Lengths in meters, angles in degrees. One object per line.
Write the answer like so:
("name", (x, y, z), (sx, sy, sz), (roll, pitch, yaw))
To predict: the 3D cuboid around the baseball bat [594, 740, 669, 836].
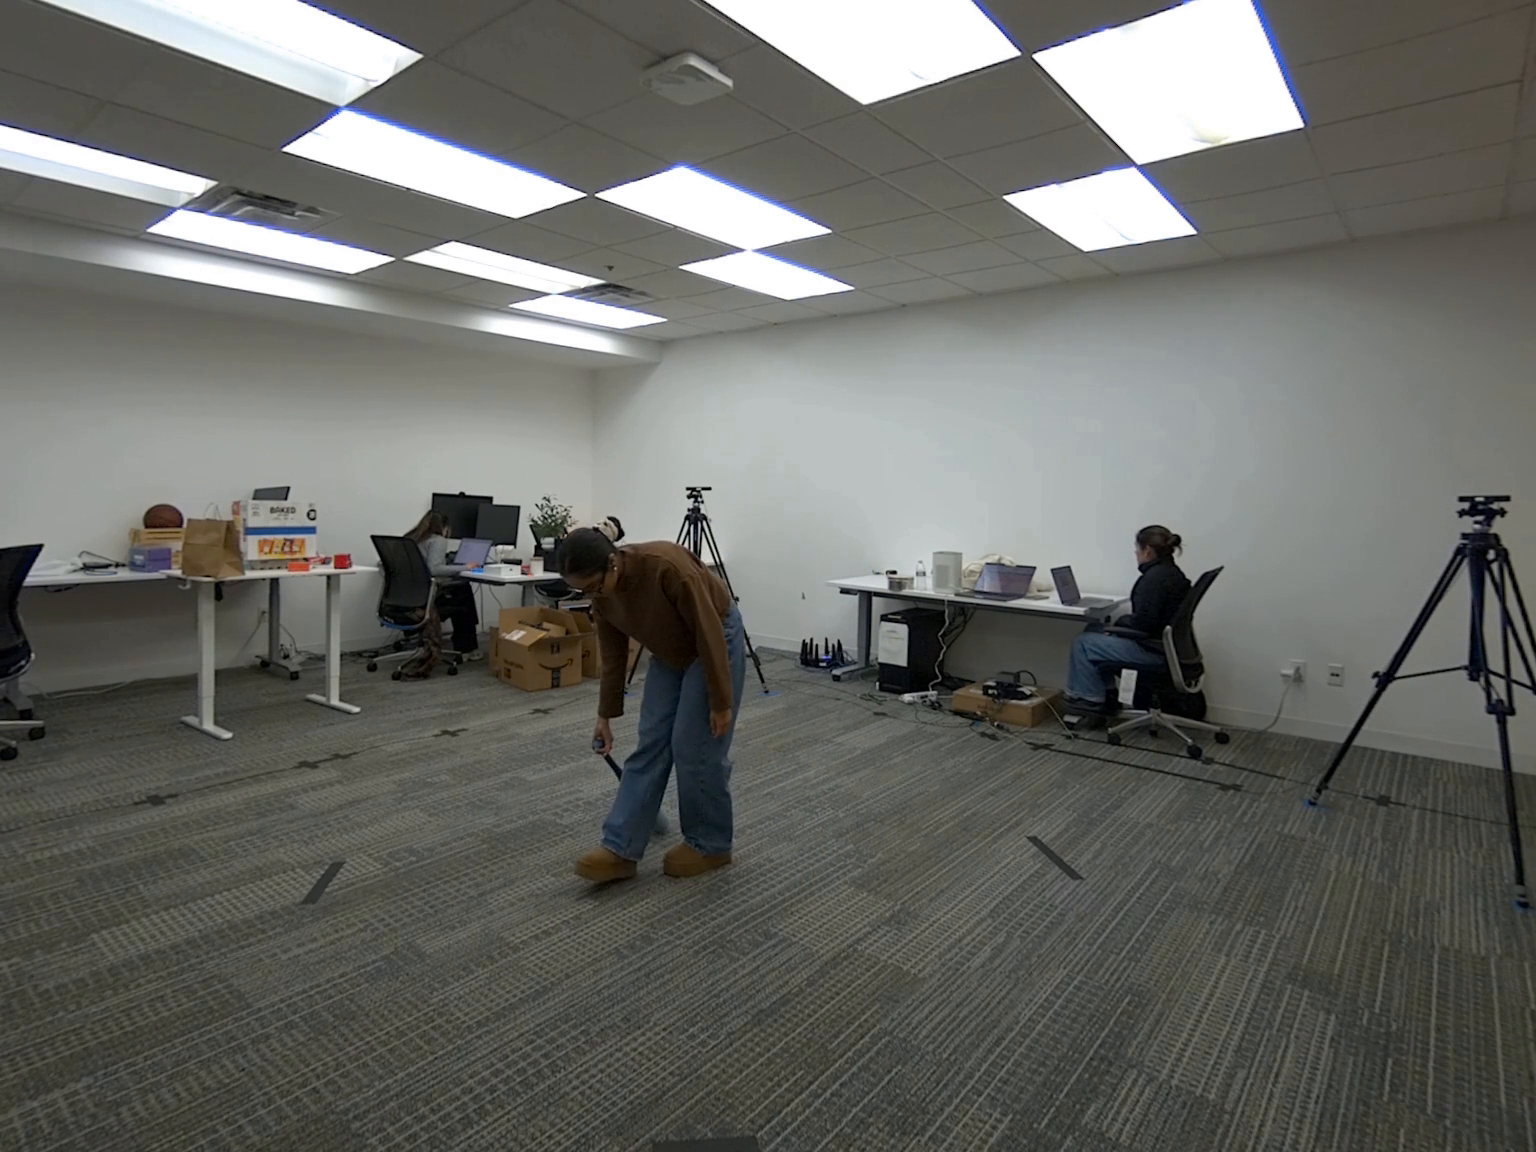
("baseball bat", (-0.554, 0.815, 3.307), (0.090, 0.523, 0.091), (-21, 34, 14))
